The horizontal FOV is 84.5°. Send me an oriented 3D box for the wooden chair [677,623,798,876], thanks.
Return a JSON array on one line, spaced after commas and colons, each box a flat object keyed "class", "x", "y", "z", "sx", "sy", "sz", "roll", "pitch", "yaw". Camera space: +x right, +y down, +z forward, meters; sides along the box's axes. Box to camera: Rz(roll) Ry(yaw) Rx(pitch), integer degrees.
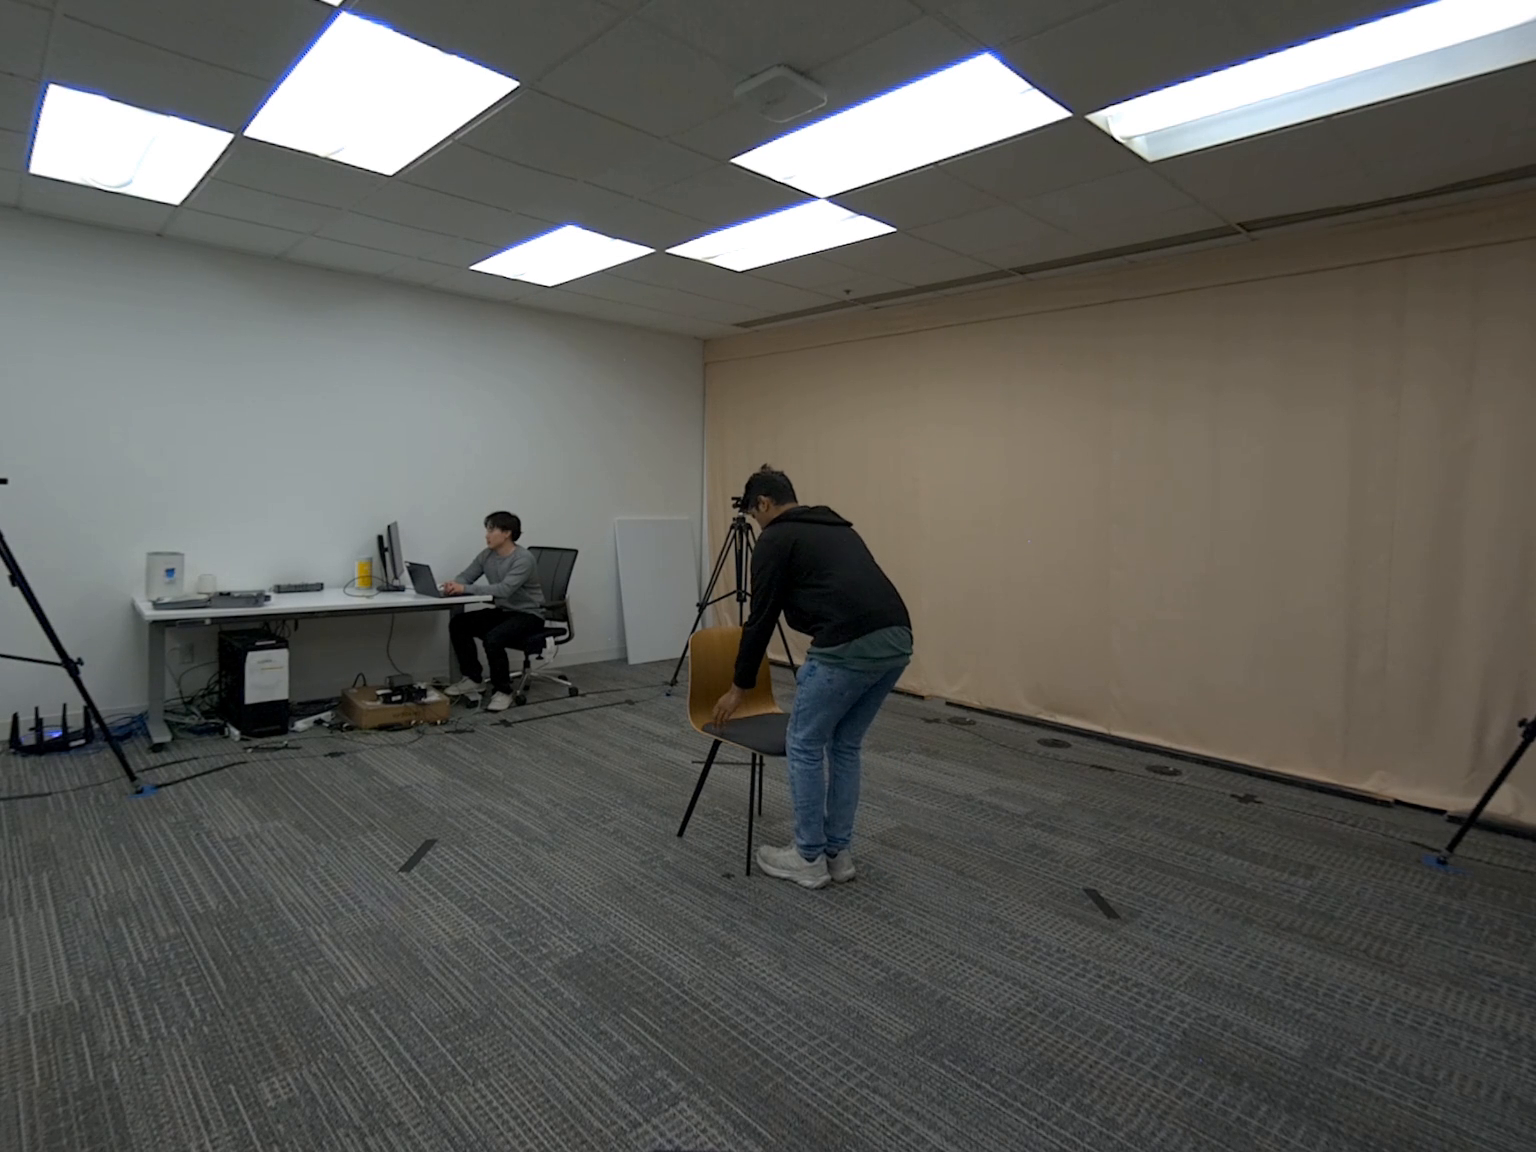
[{"class": "wooden chair", "x": -0.046, "y": 0.657, "z": 3.385, "sx": 0.467, "sy": 0.878, "sz": 0.535, "roll": 0, "pitch": -1, "yaw": -39}]
